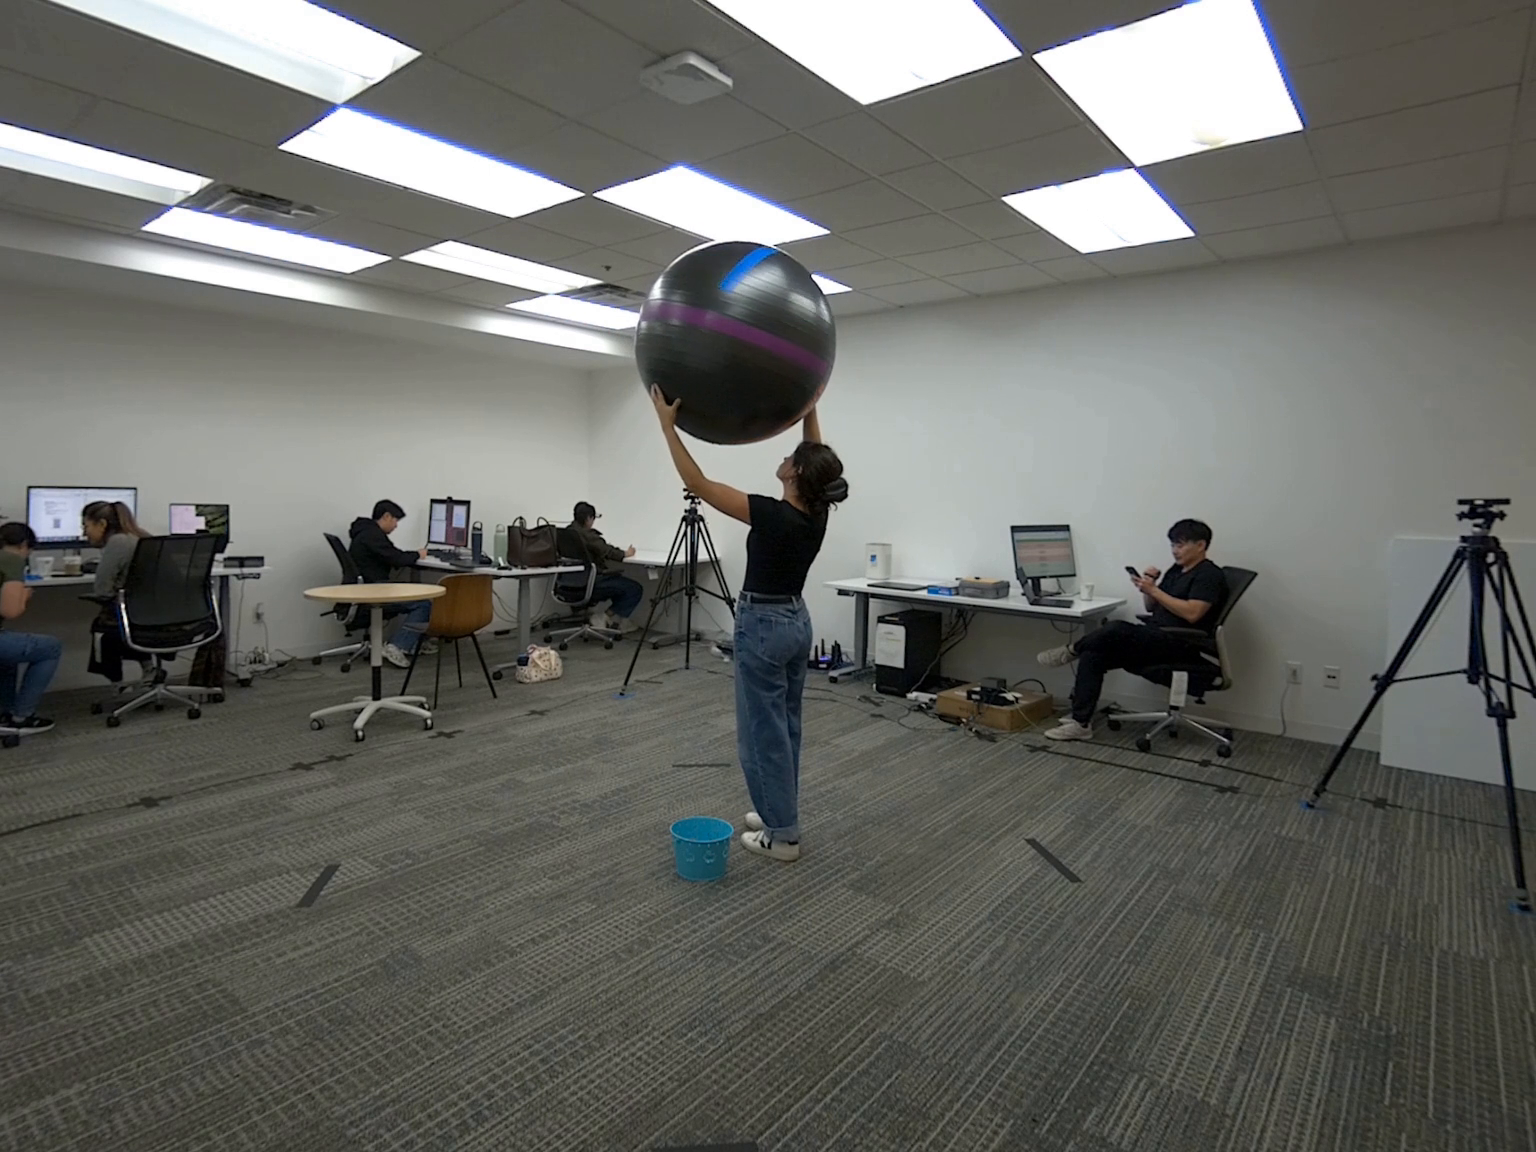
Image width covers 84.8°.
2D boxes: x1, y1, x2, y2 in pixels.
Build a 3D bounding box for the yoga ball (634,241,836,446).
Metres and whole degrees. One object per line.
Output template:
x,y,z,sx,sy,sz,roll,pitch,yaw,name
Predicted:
-0.132,-0.881,3.232,0.757,0.756,0.762,1,4,-2,yoga ball
